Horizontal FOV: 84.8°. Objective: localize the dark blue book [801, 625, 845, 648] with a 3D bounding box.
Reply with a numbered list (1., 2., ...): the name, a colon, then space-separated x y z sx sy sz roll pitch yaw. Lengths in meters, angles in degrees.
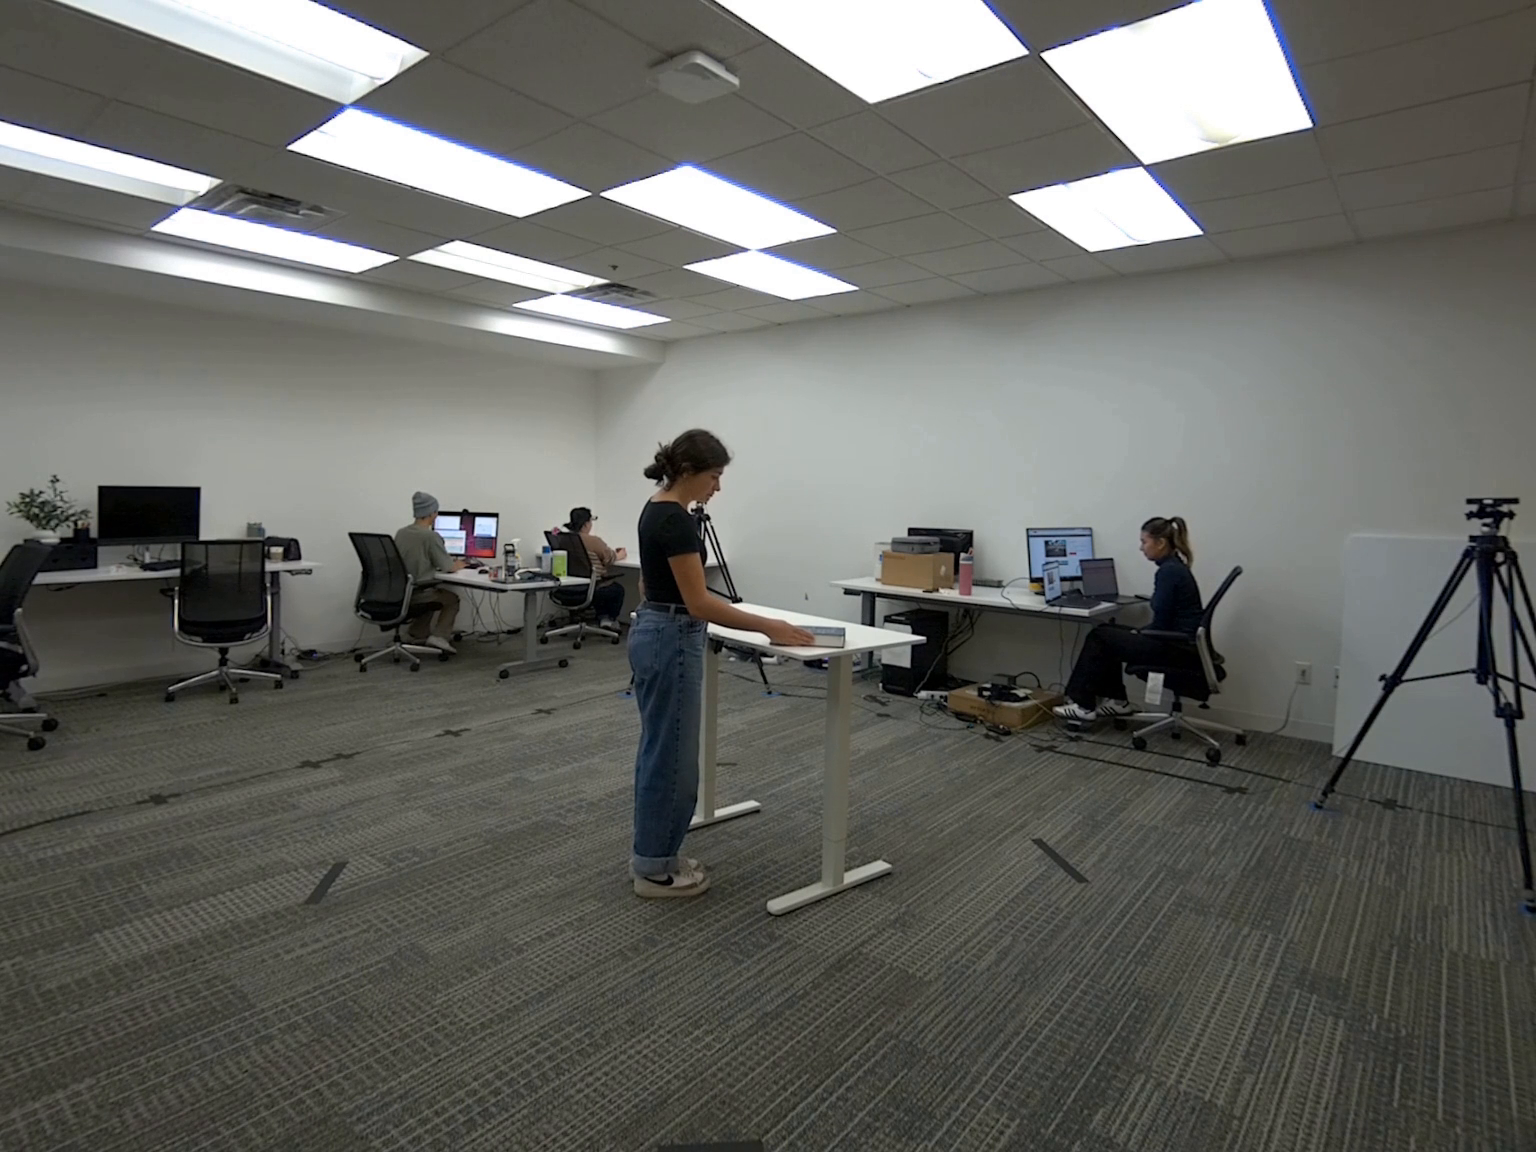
1. dark blue book: 0.126 0.204 2.840 0.248 0.045 0.162 2 7 10
